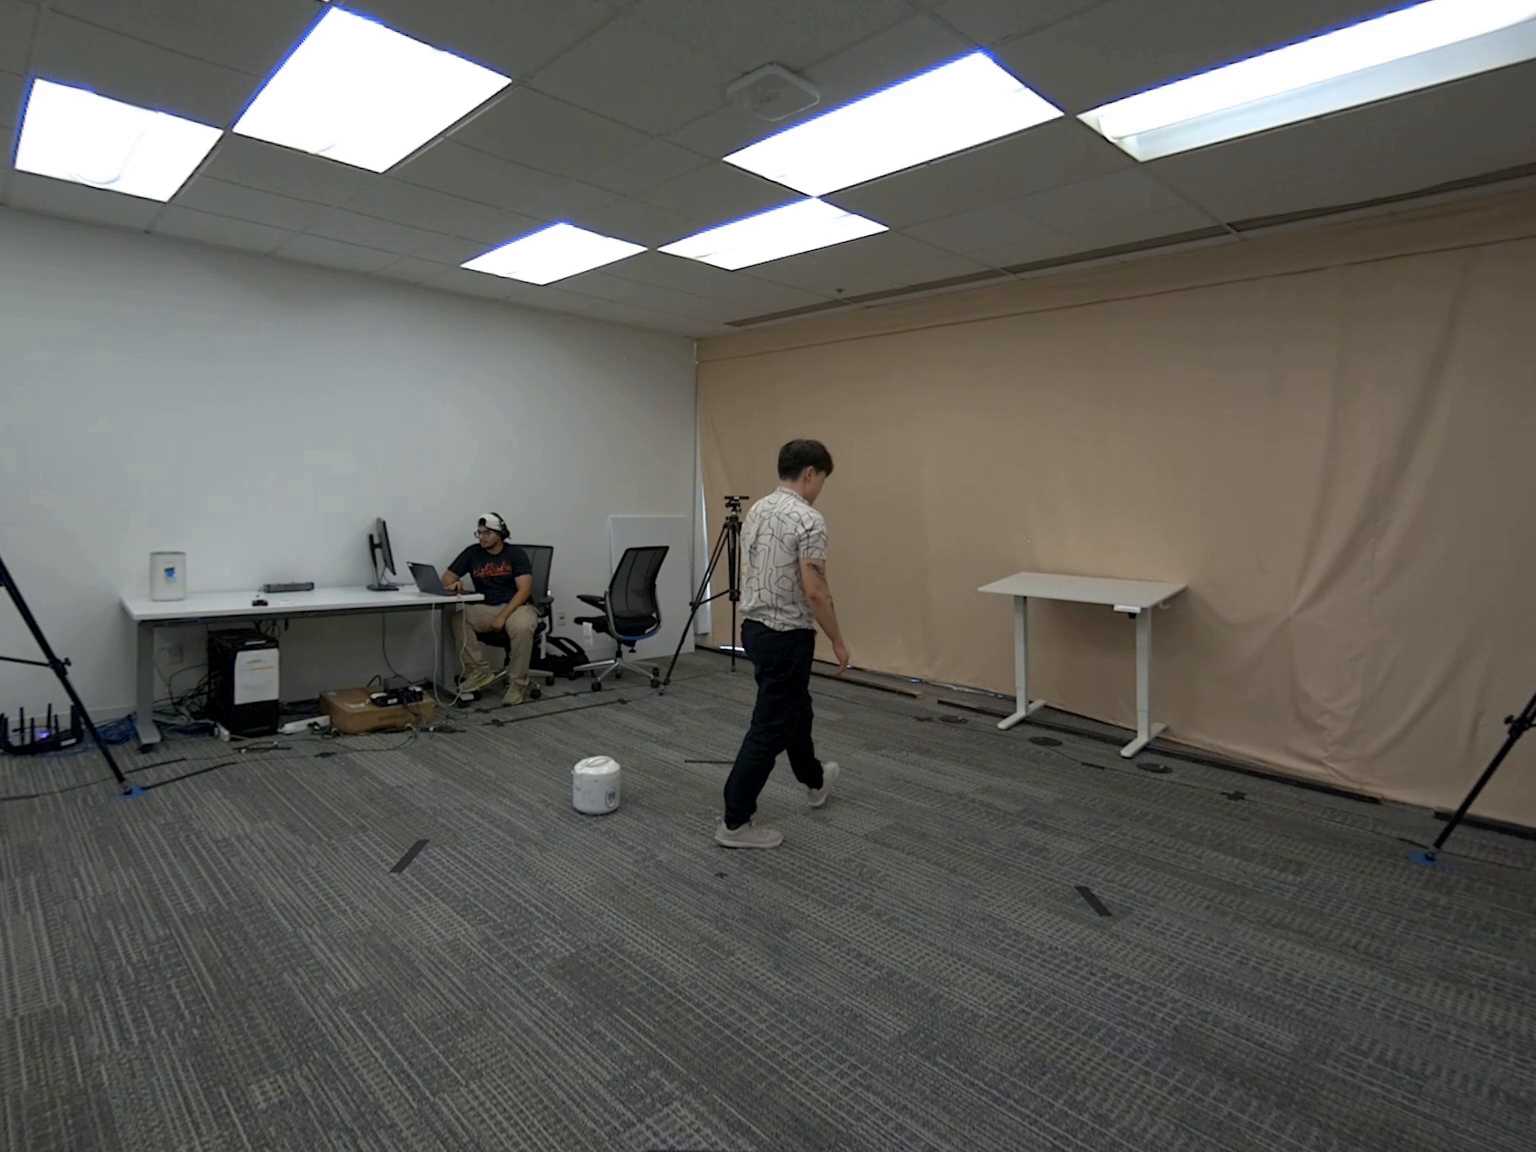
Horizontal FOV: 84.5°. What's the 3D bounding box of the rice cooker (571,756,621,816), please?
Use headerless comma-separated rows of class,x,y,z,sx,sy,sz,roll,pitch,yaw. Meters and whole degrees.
rice cooker,-0.763,0.916,3.731,0.223,0.232,0.215,5,5,43
